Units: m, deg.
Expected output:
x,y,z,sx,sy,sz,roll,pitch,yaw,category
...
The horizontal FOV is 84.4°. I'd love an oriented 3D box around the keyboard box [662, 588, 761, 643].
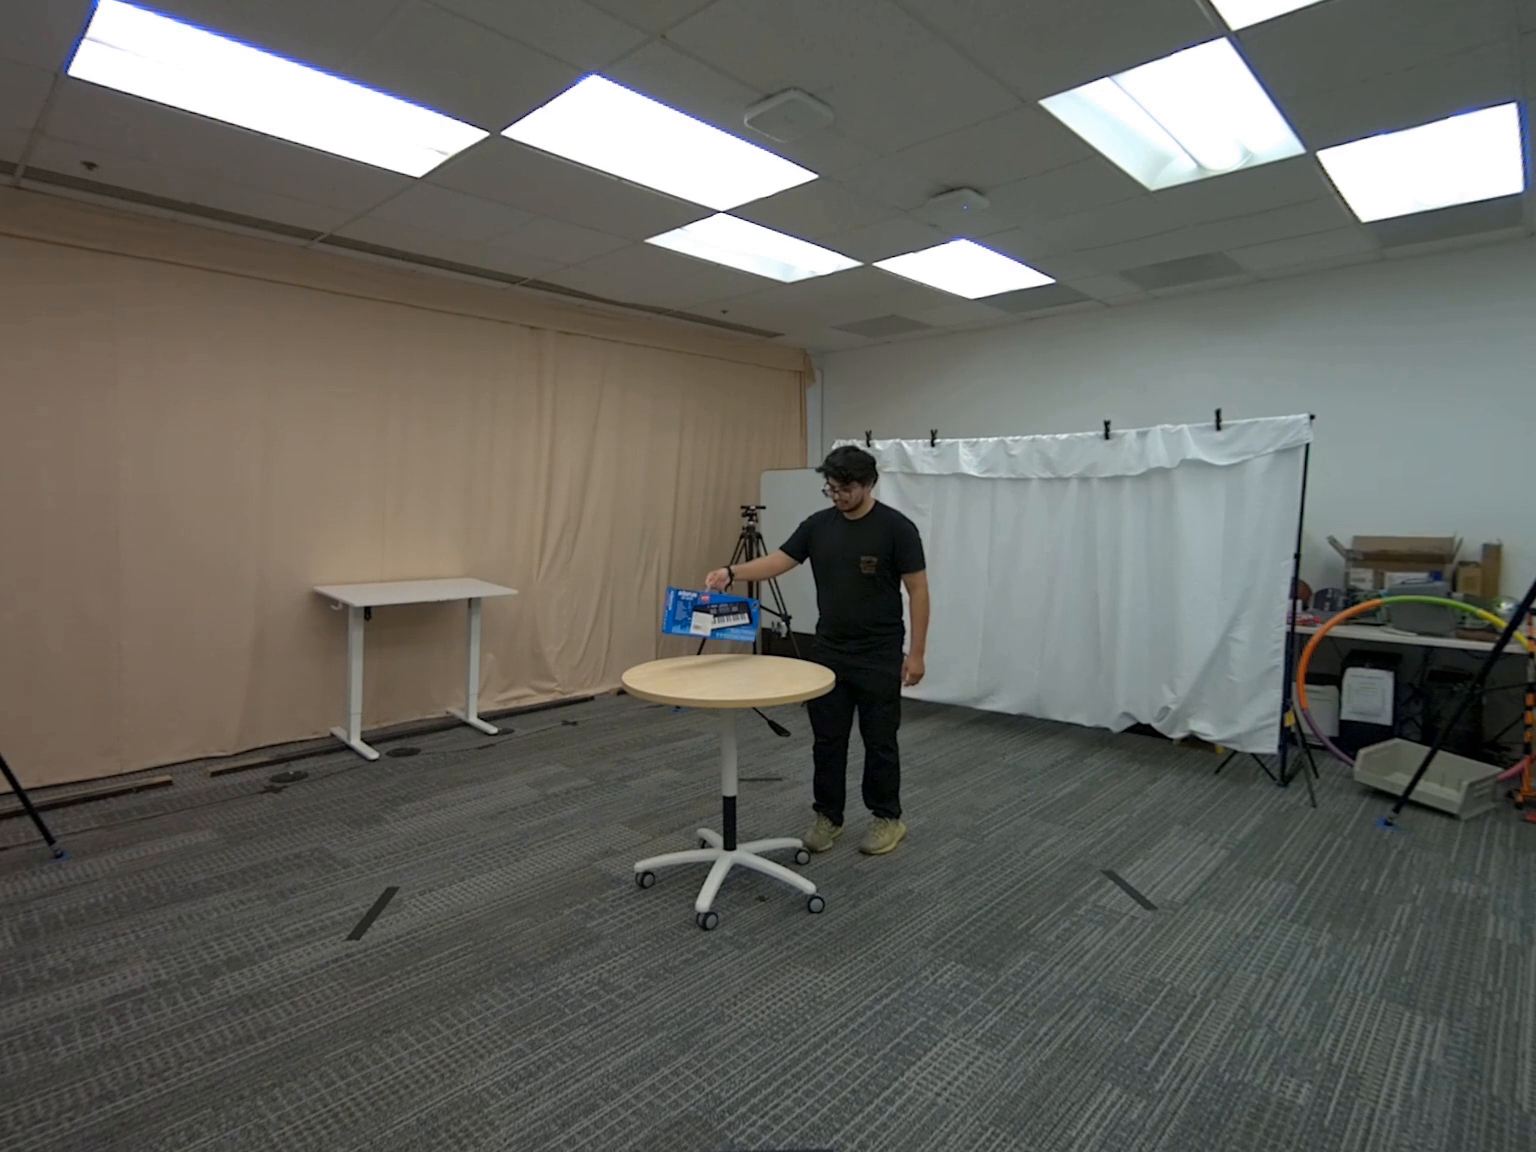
x,y,z,sx,sy,sz,roll,pitch,yaw,category
-0.214,0.156,3.278,0.422,0.176,0.061,11,-5,-42,keyboard box
